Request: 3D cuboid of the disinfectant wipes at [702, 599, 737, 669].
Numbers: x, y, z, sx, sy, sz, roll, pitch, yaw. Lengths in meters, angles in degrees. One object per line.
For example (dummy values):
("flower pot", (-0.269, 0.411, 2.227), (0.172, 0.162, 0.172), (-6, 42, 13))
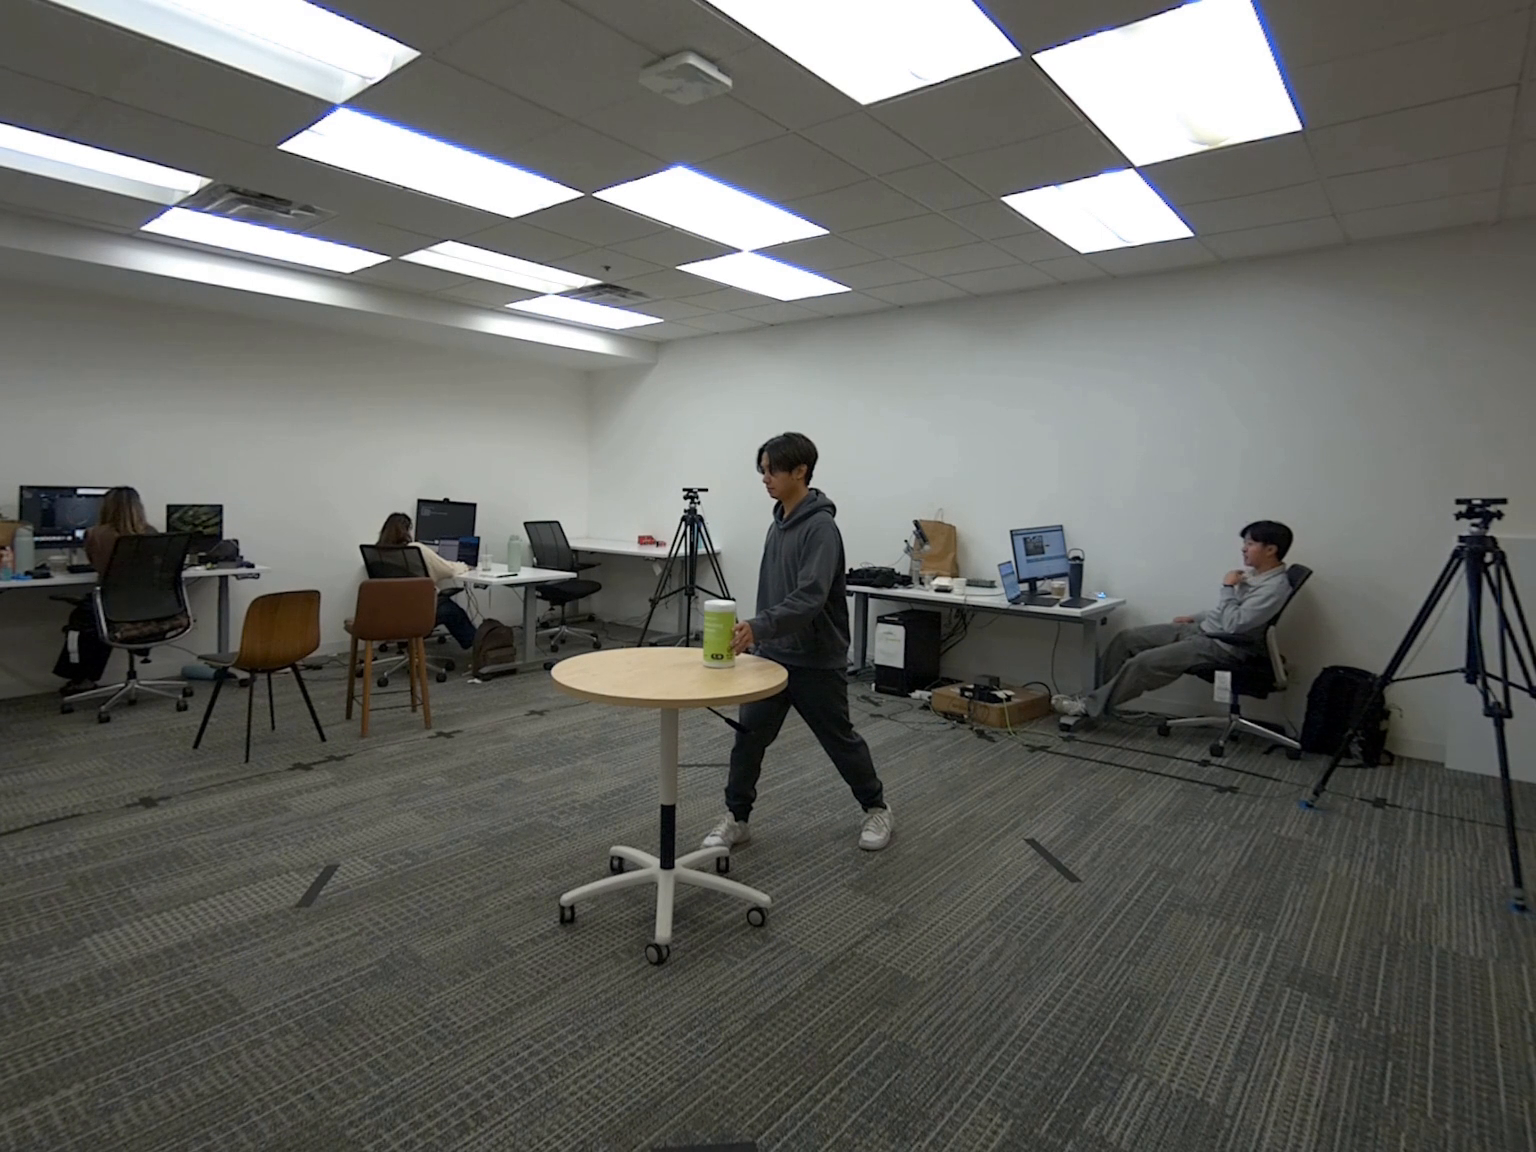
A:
("disinfectant wipes", (-0.173, 0.192, 2.851), (0.118, 0.217, 0.118), (0, 4, -2))
